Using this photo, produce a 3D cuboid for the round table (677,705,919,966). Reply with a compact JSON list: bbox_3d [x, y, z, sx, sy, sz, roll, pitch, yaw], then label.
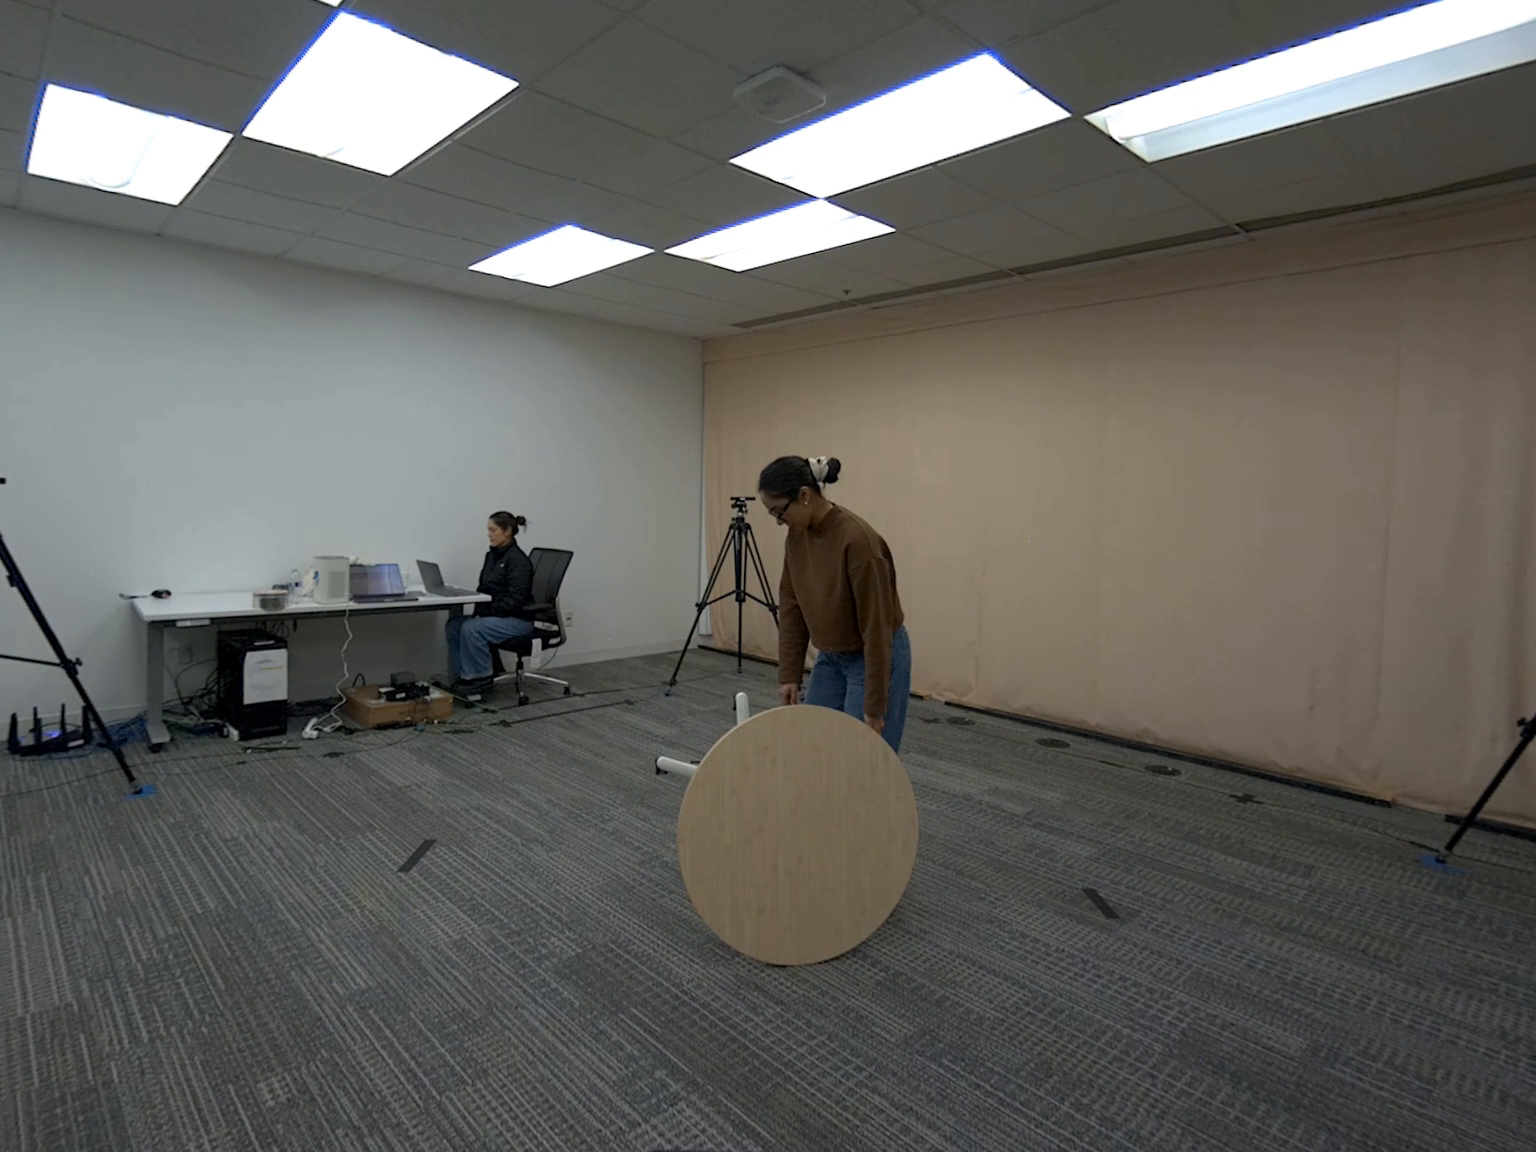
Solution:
[{"bbox_3d":[-0.003,0.804,2.935,0.755,0.766,0.801,0,-3,-14],"label":"round table"}]
